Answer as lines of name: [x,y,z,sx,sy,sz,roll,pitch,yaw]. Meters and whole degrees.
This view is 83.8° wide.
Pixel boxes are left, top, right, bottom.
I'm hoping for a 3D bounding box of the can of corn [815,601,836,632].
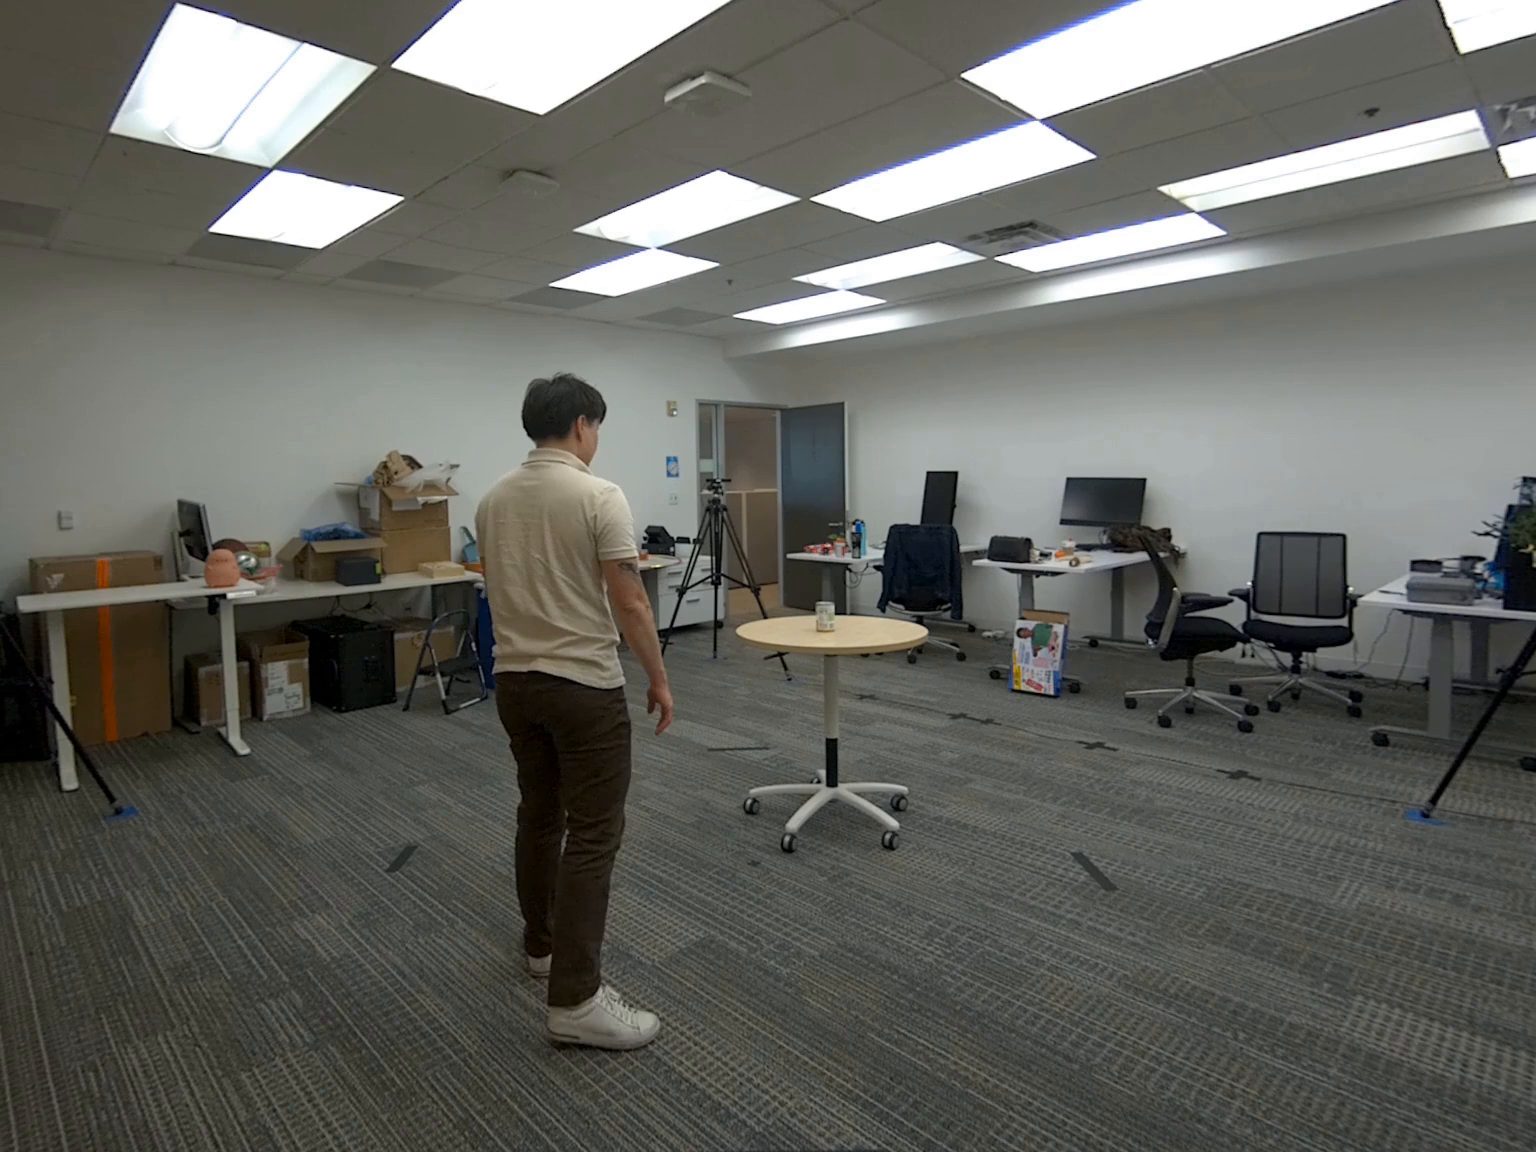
can of corn: [0.238,0.163,3.421,0.074,0.111,0.074,-1,3,-2]
